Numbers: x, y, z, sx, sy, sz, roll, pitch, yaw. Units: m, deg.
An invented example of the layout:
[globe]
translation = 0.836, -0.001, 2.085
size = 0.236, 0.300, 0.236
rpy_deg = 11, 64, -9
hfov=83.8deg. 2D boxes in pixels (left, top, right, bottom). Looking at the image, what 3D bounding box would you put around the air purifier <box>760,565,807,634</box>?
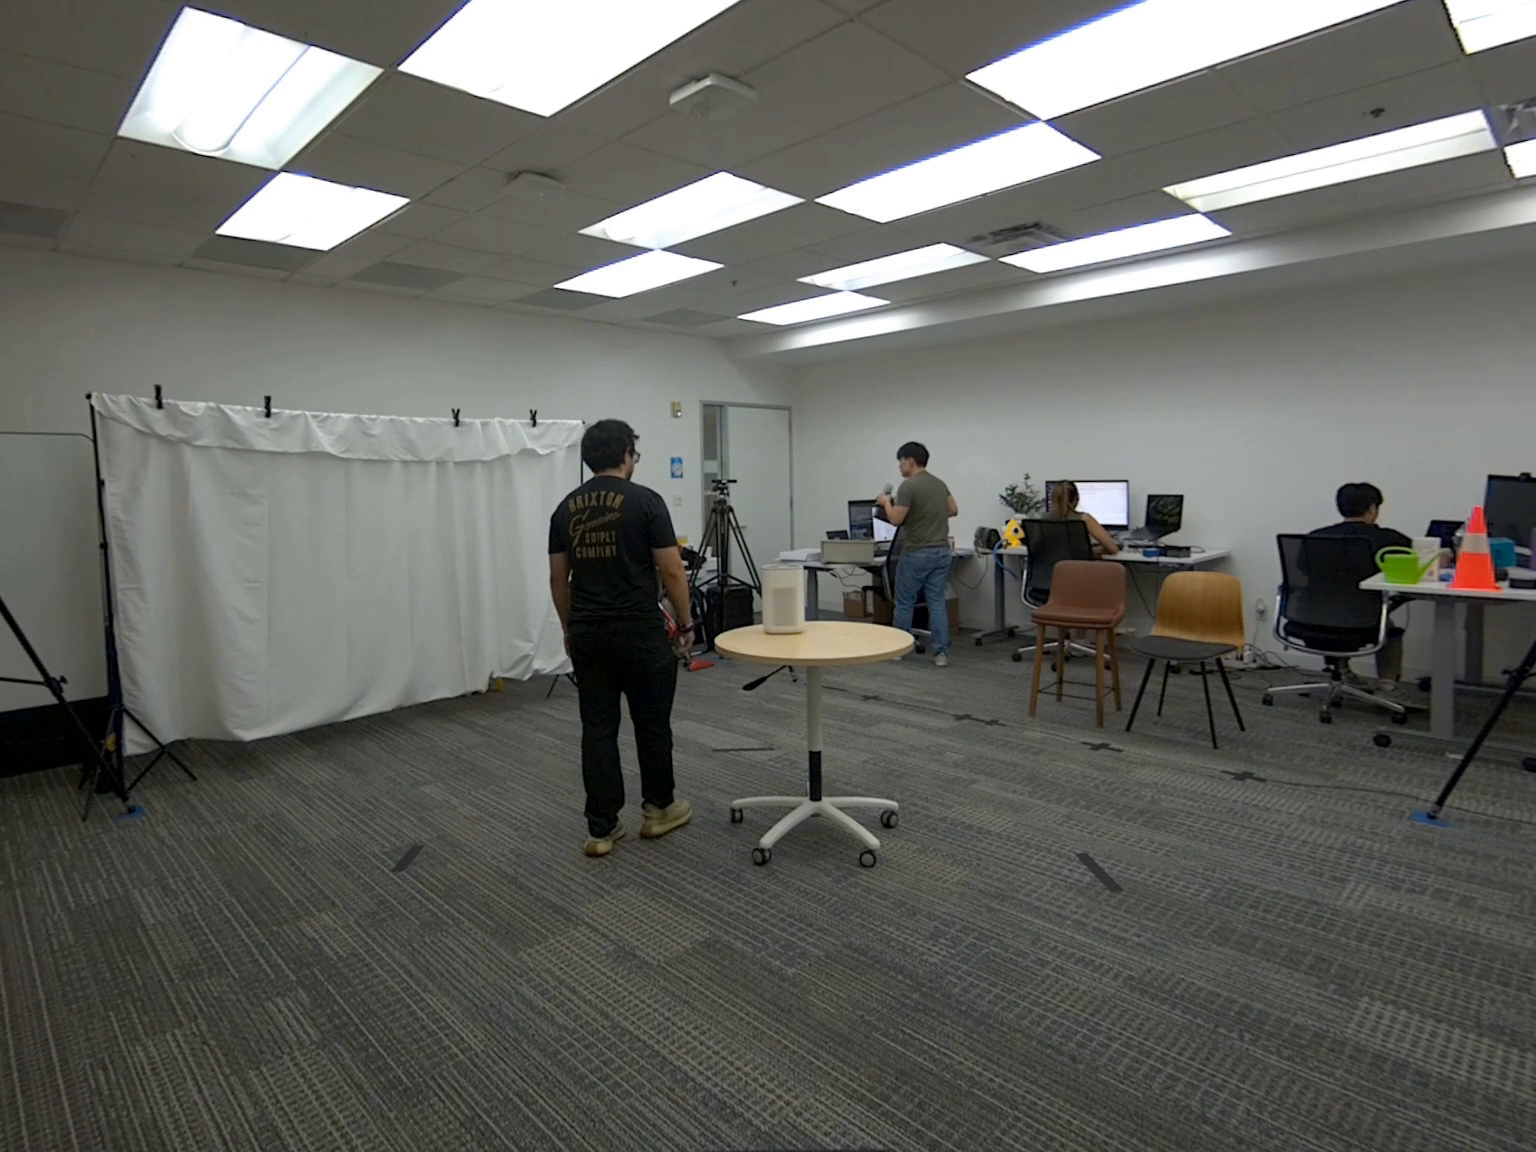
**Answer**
[air purifier]
translation = 0.067, 0.089, 3.464
size = 0.172, 0.264, 0.172
rpy_deg = -2, 6, 2
